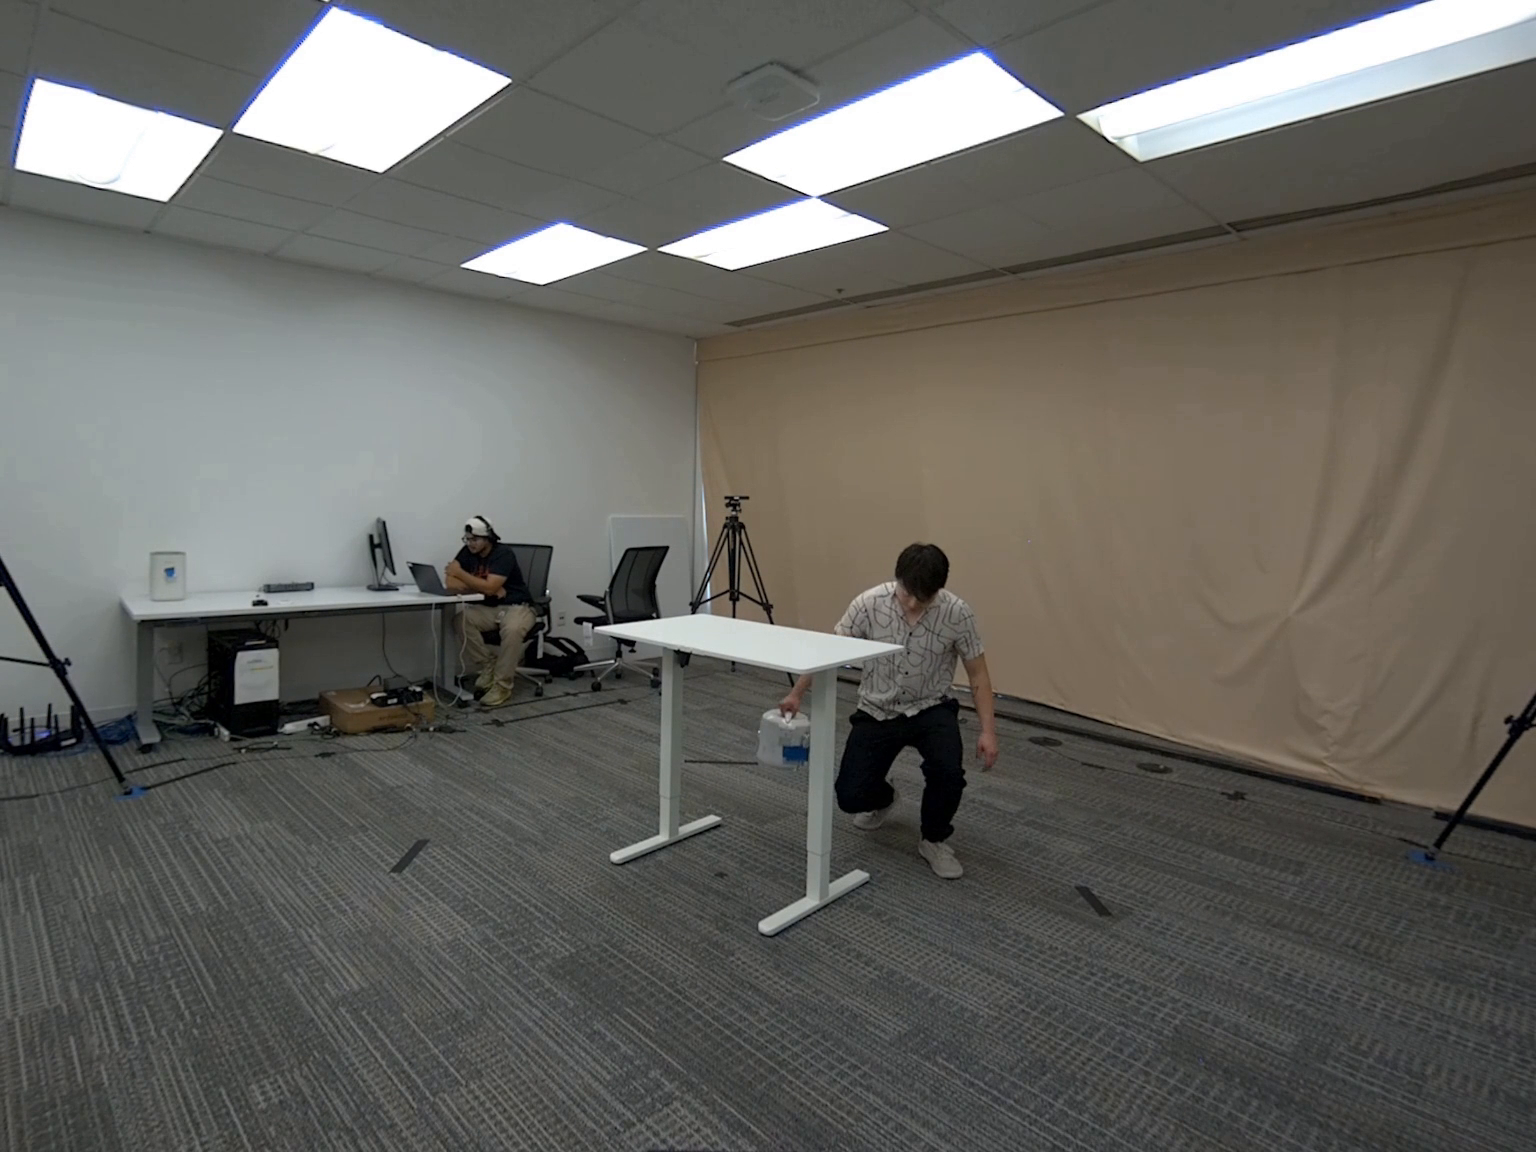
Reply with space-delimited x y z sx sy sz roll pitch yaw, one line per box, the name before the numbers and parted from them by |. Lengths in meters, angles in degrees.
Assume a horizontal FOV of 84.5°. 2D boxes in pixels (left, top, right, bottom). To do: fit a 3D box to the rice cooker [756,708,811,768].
rice cooker | 0.065 0.651 3.449 0.218 0.232 0.220 8 4 3
